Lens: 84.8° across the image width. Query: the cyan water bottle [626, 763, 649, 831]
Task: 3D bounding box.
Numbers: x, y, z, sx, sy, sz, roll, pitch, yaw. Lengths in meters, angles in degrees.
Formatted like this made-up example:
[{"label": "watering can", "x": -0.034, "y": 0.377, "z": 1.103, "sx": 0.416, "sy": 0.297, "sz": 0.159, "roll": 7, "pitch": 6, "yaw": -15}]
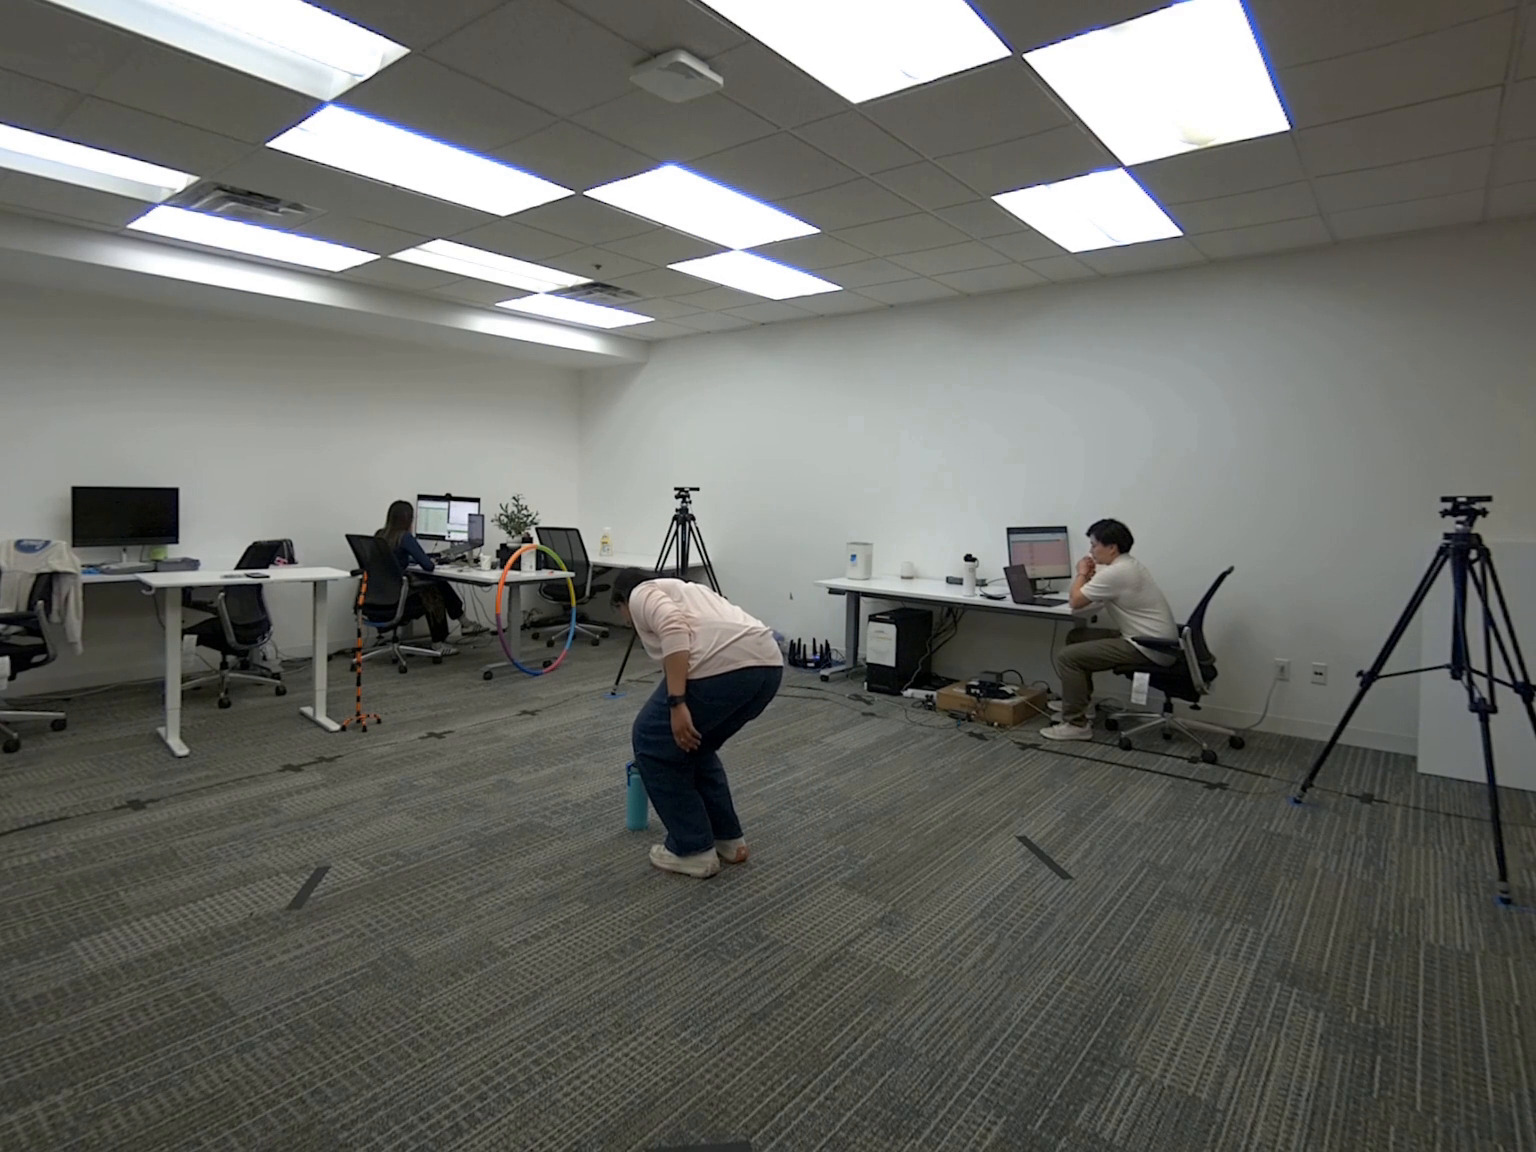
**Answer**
[{"label": "cyan water bottle", "x": -0.548, "y": 0.885, "z": 3.487, "sx": 0.092, "sy": 0.282, "sz": 0.093, "roll": -1, "pitch": 4, "yaw": -2}]
